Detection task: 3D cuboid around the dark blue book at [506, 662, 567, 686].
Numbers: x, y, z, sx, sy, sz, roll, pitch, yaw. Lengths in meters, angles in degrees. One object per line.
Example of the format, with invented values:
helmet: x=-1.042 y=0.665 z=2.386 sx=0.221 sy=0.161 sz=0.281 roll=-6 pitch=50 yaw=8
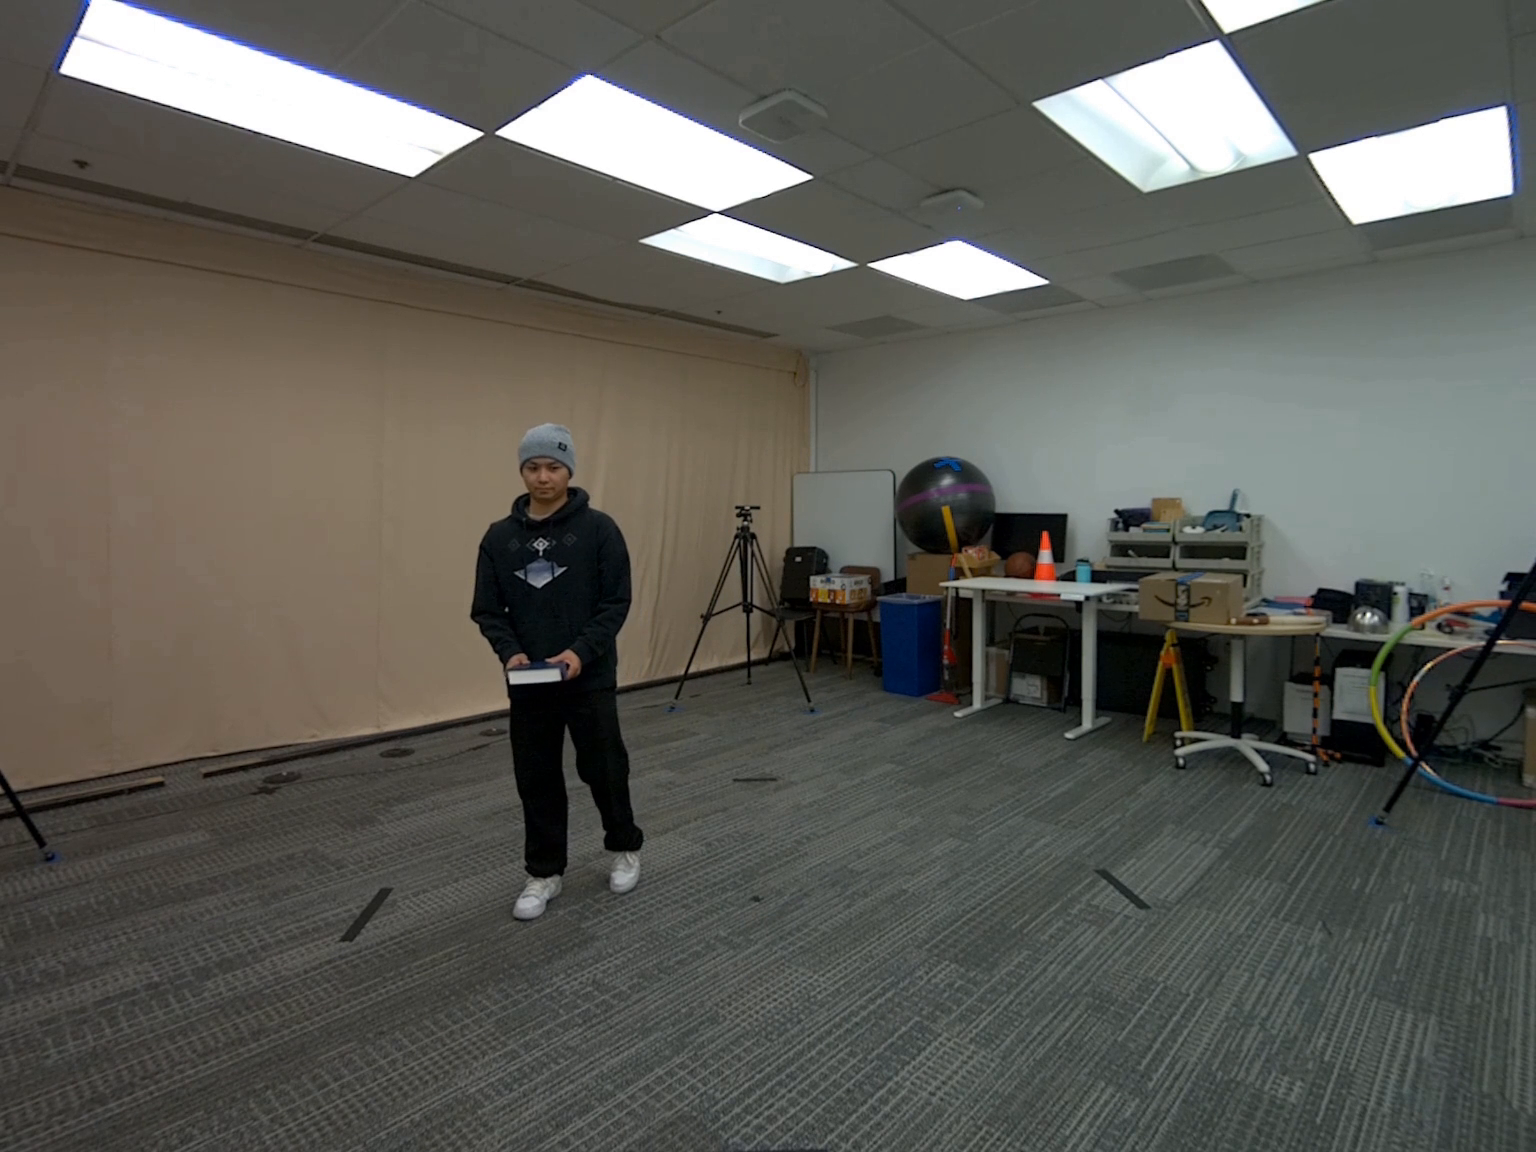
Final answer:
dark blue book: x=-0.721 y=0.295 z=2.657 sx=0.163 sy=0.045 sz=0.245 roll=0 pitch=0 yaw=-1
